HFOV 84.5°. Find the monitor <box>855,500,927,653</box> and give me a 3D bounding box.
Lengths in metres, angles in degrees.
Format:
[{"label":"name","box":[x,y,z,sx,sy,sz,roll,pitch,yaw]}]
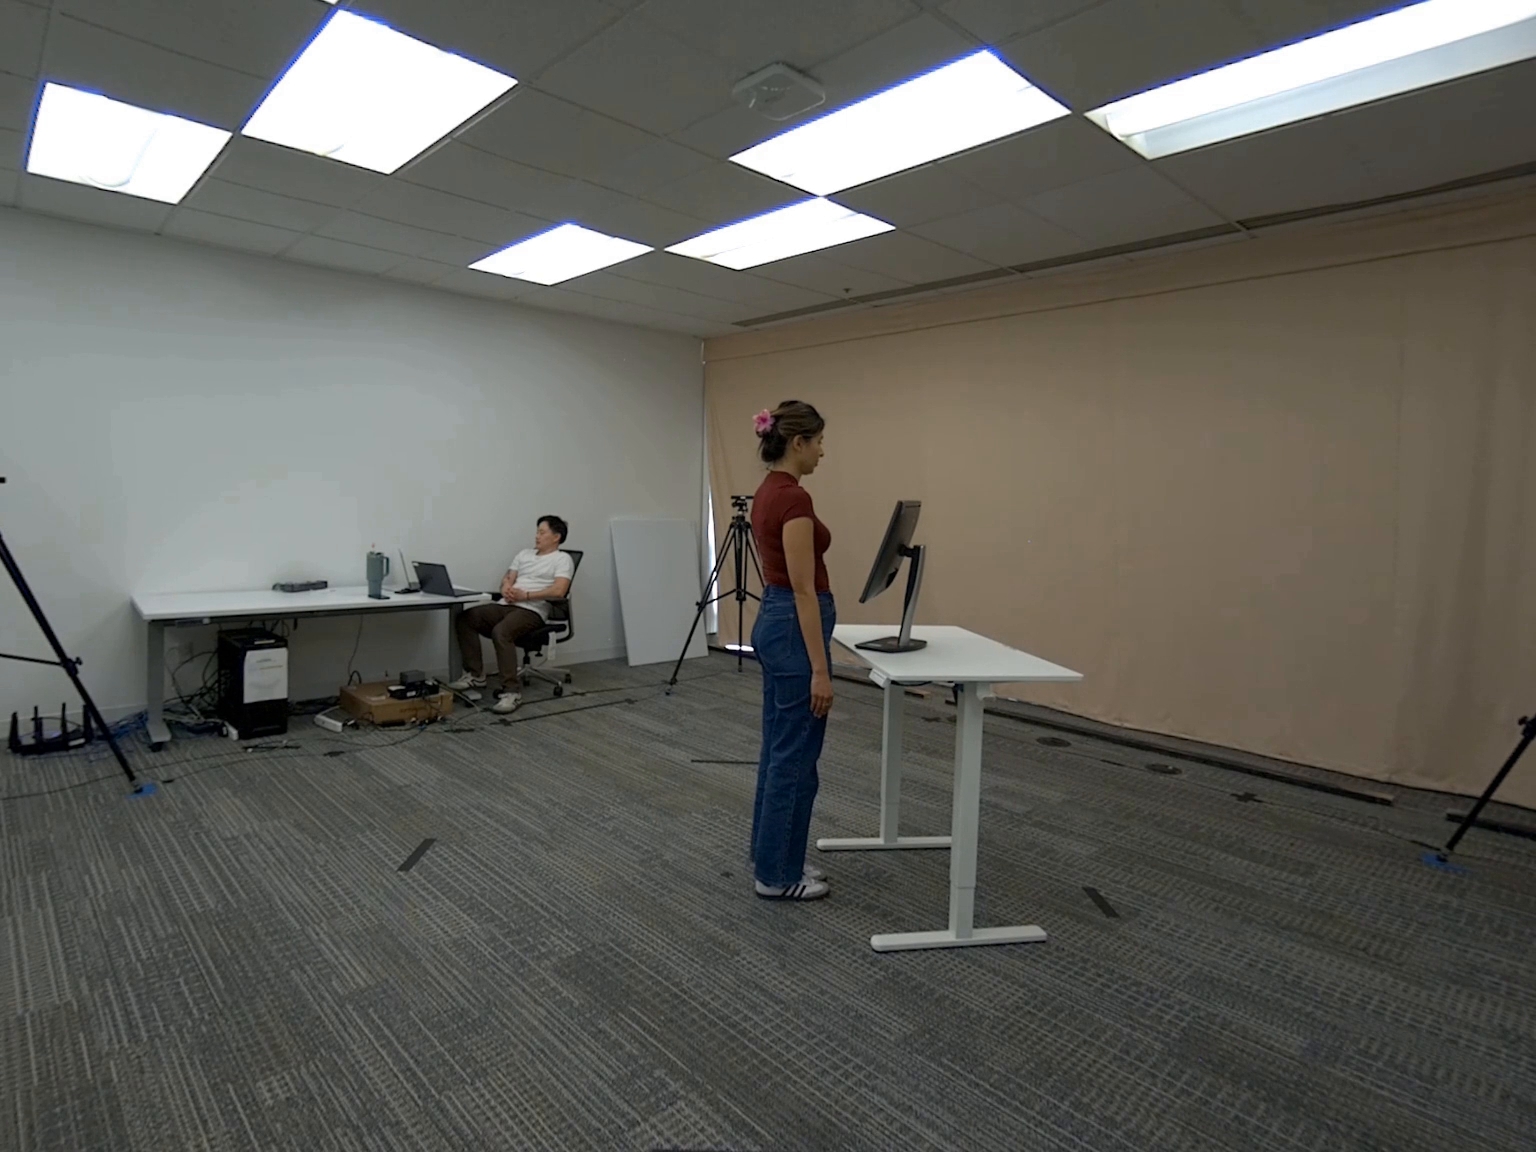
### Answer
[{"label":"monitor","box":[0.453,-0.002,2.925,0.190,0.520,0.534,6,6,15]}]
